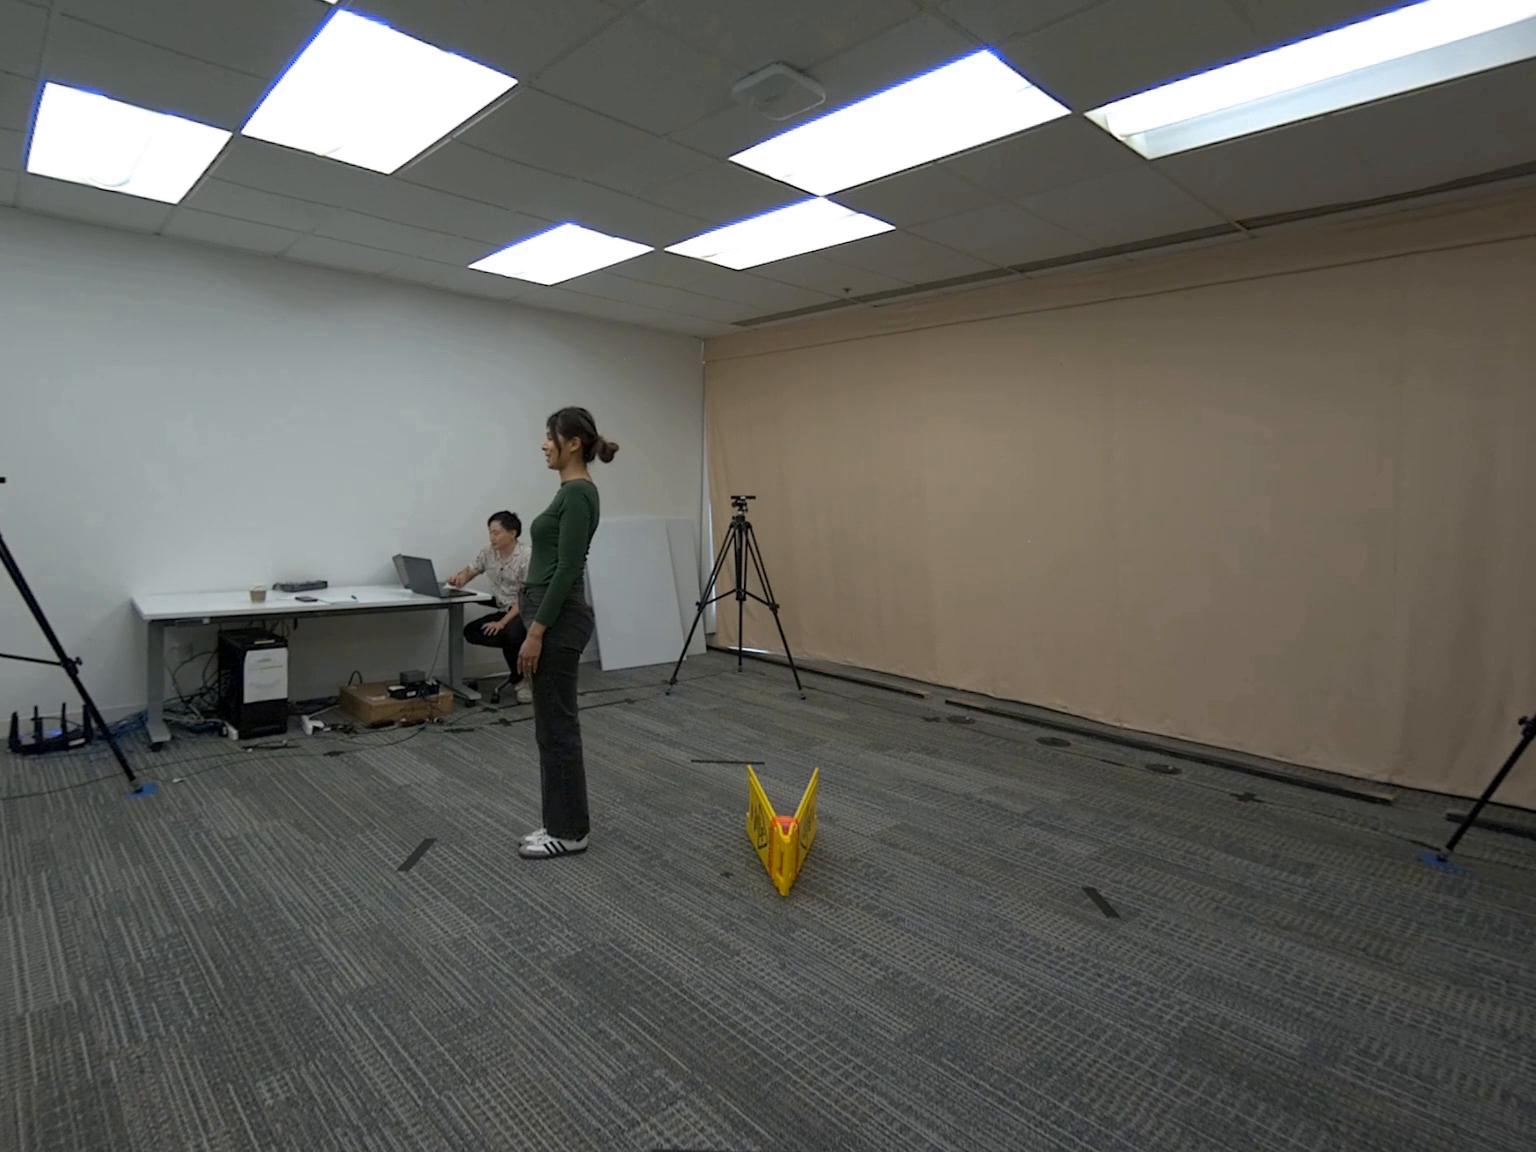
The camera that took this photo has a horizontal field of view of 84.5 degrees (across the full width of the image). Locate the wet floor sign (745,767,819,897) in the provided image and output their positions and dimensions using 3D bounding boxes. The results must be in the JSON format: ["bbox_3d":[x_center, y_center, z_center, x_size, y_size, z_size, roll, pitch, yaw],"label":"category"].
[{"bbox_3d":[0.054,0.965,3.196,0.290,0.281,0.649,2,7,-1],"label":"wet floor sign"}]
